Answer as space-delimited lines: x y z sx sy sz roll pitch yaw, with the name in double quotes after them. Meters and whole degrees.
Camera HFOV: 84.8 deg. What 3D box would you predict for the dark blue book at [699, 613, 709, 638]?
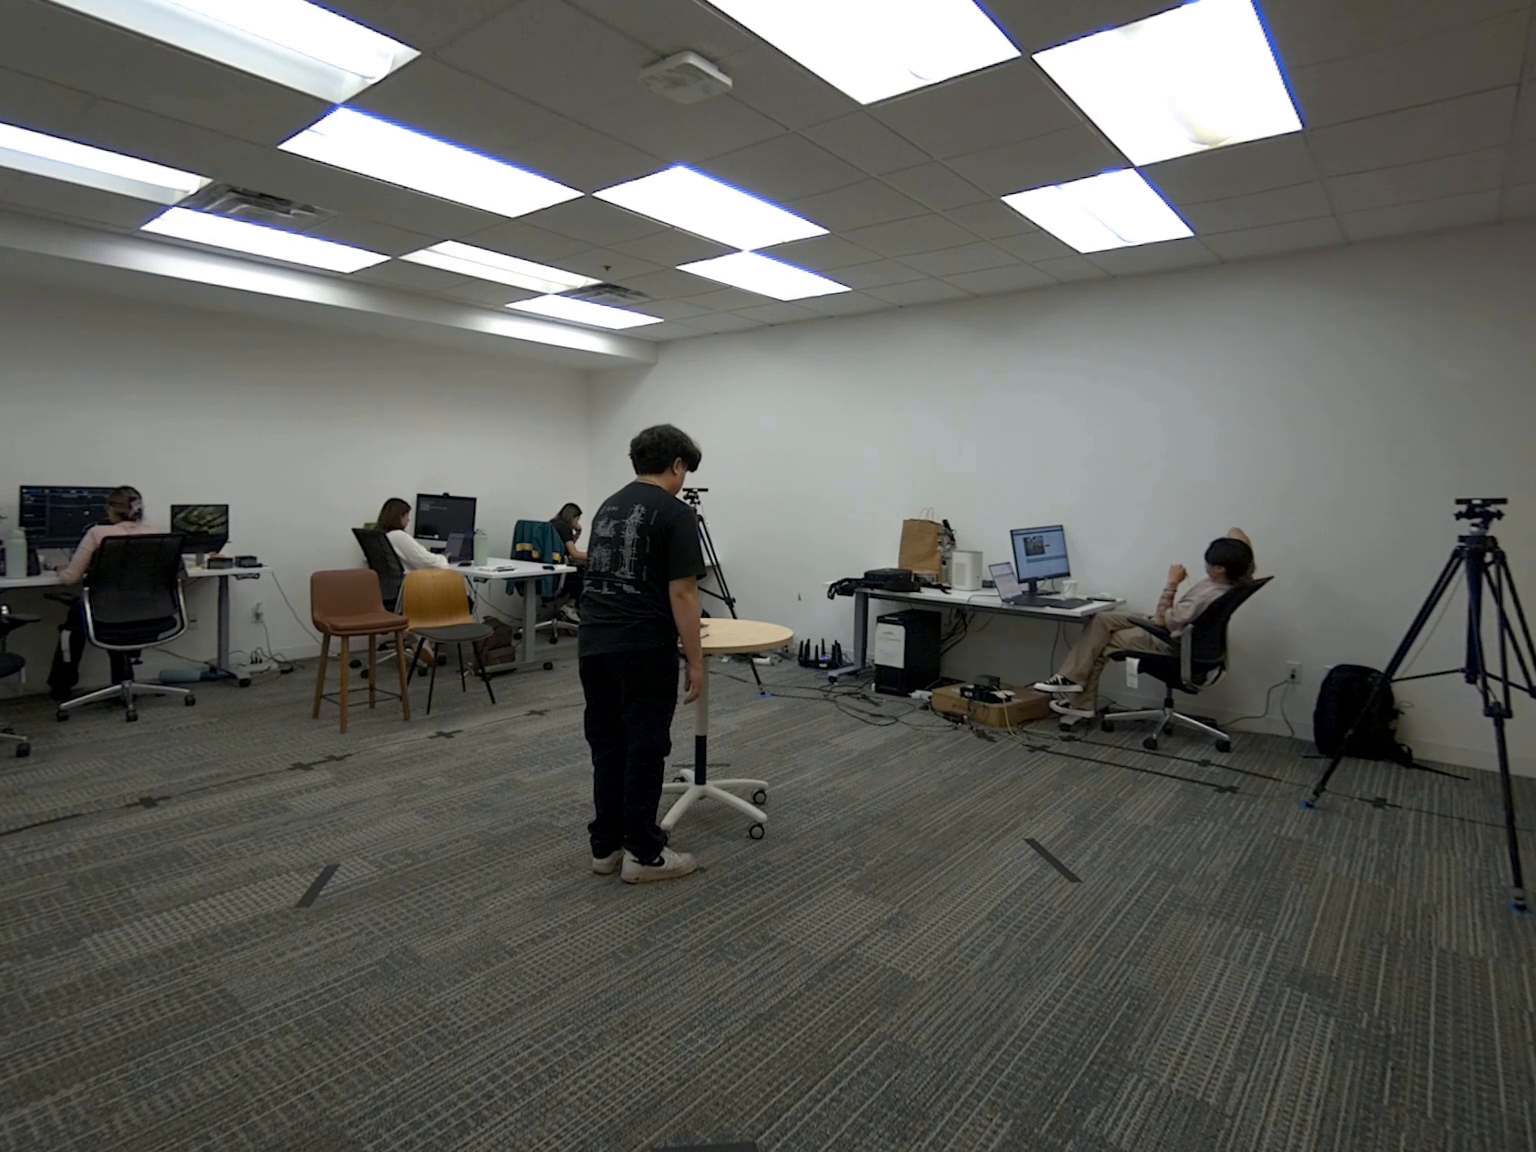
-0.355 0.224 3.406 0.166 0.045 0.241 1 4 17 "dark blue book"
